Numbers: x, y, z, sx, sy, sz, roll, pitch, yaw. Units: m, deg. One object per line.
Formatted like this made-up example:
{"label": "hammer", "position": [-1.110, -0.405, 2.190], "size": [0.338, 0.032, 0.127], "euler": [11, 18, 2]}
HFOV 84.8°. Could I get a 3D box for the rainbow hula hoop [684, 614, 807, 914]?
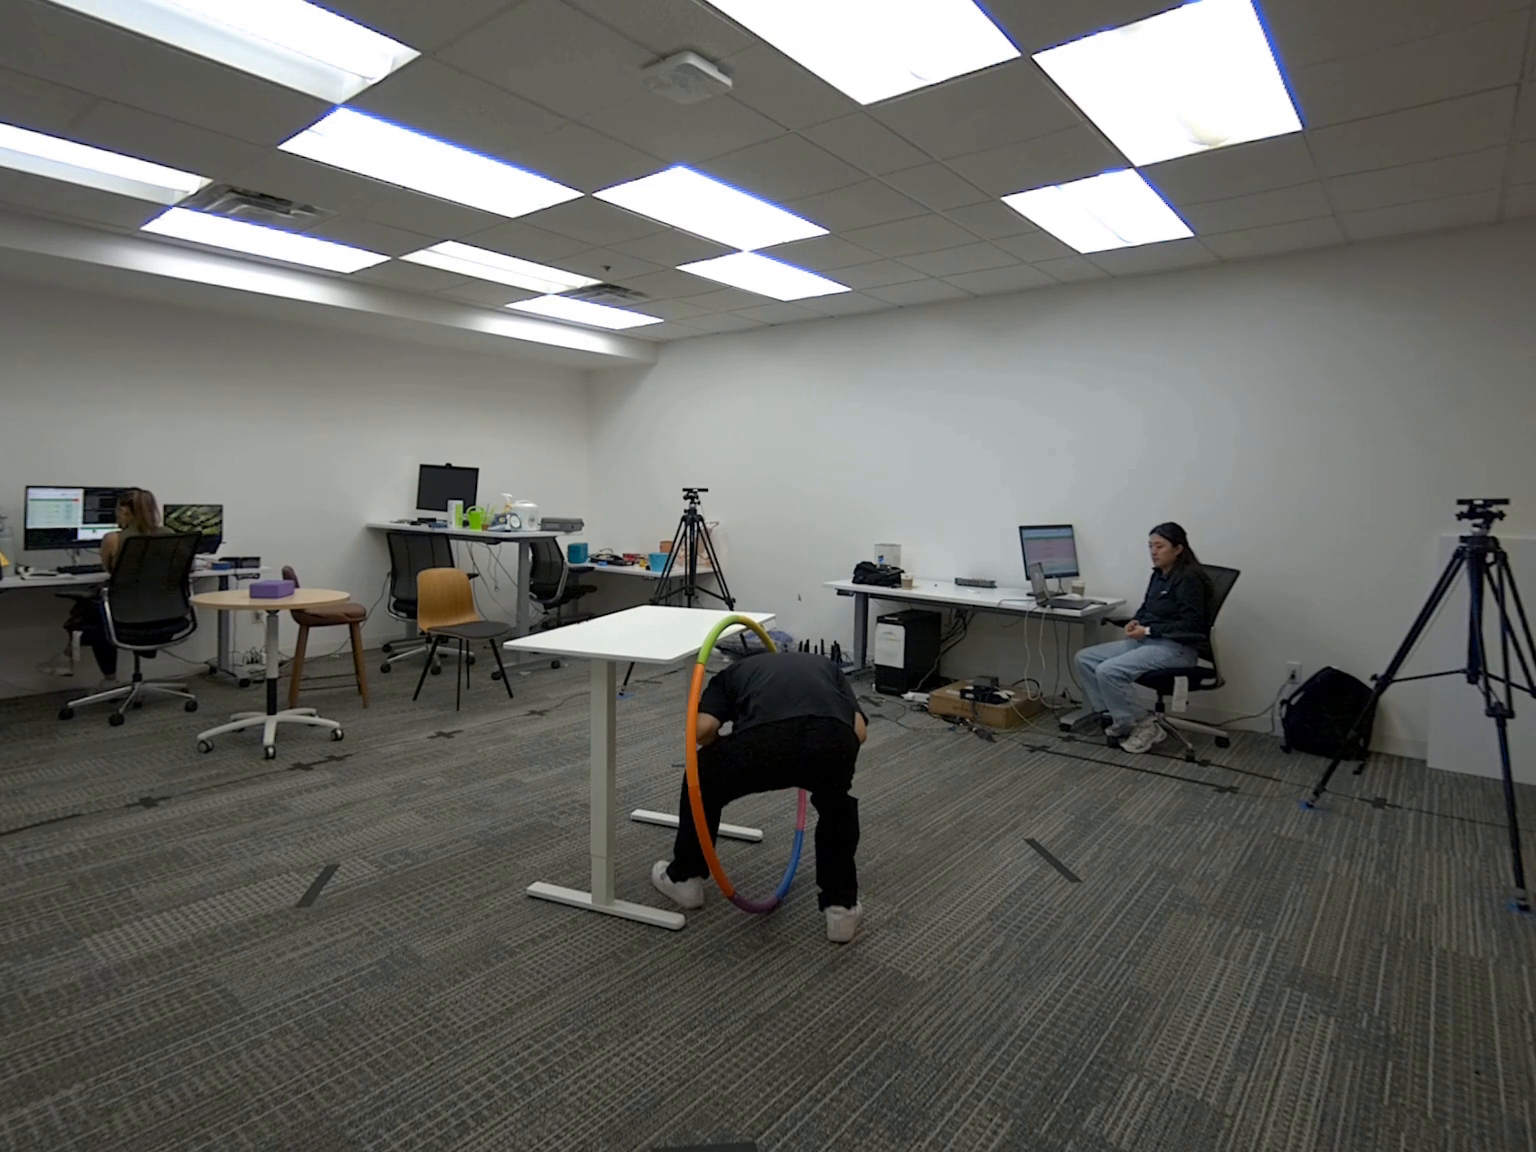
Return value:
{"label": "rainbow hula hoop", "position": [-0.052, 0.617, 2.914], "size": [0.036, 0.980, 0.960], "euler": [-11, -1, 20]}
